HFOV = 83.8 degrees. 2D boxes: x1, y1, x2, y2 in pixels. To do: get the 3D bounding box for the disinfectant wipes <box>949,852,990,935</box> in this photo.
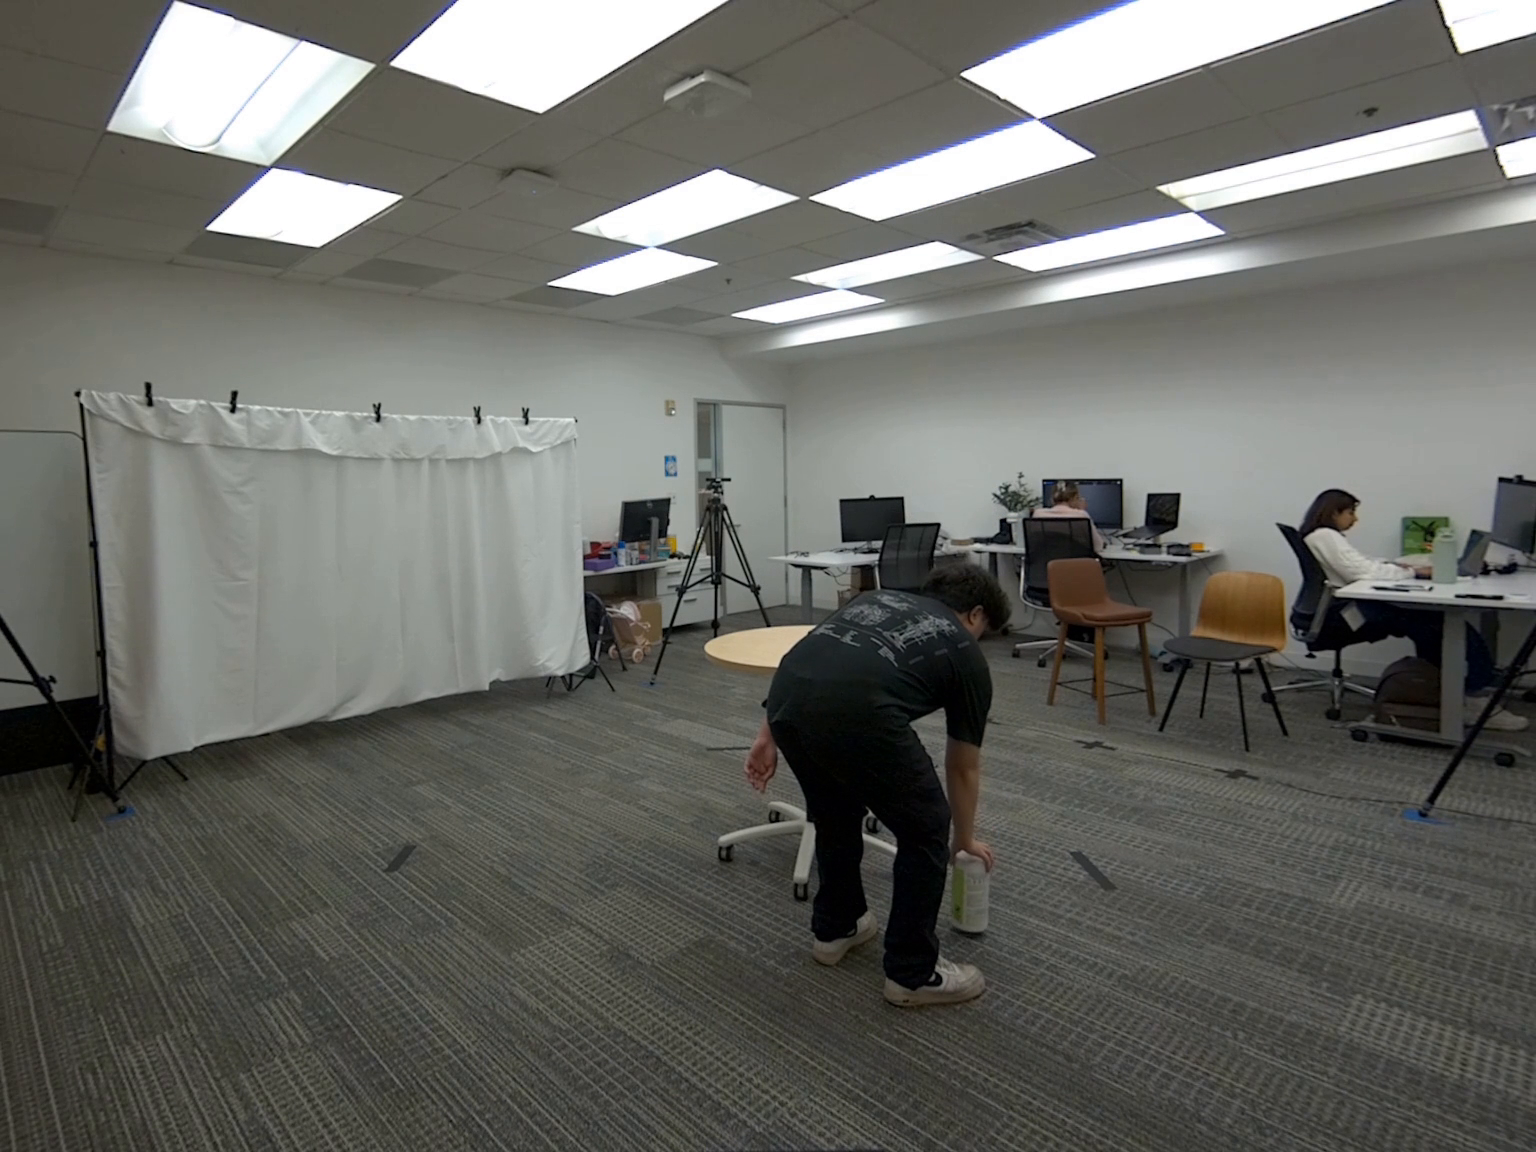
[{"bbox_3d":[0.617,0.955,2.605,0.118,0.217,0.118,0,4,-2],"label":"disinfectant wipes"}]
